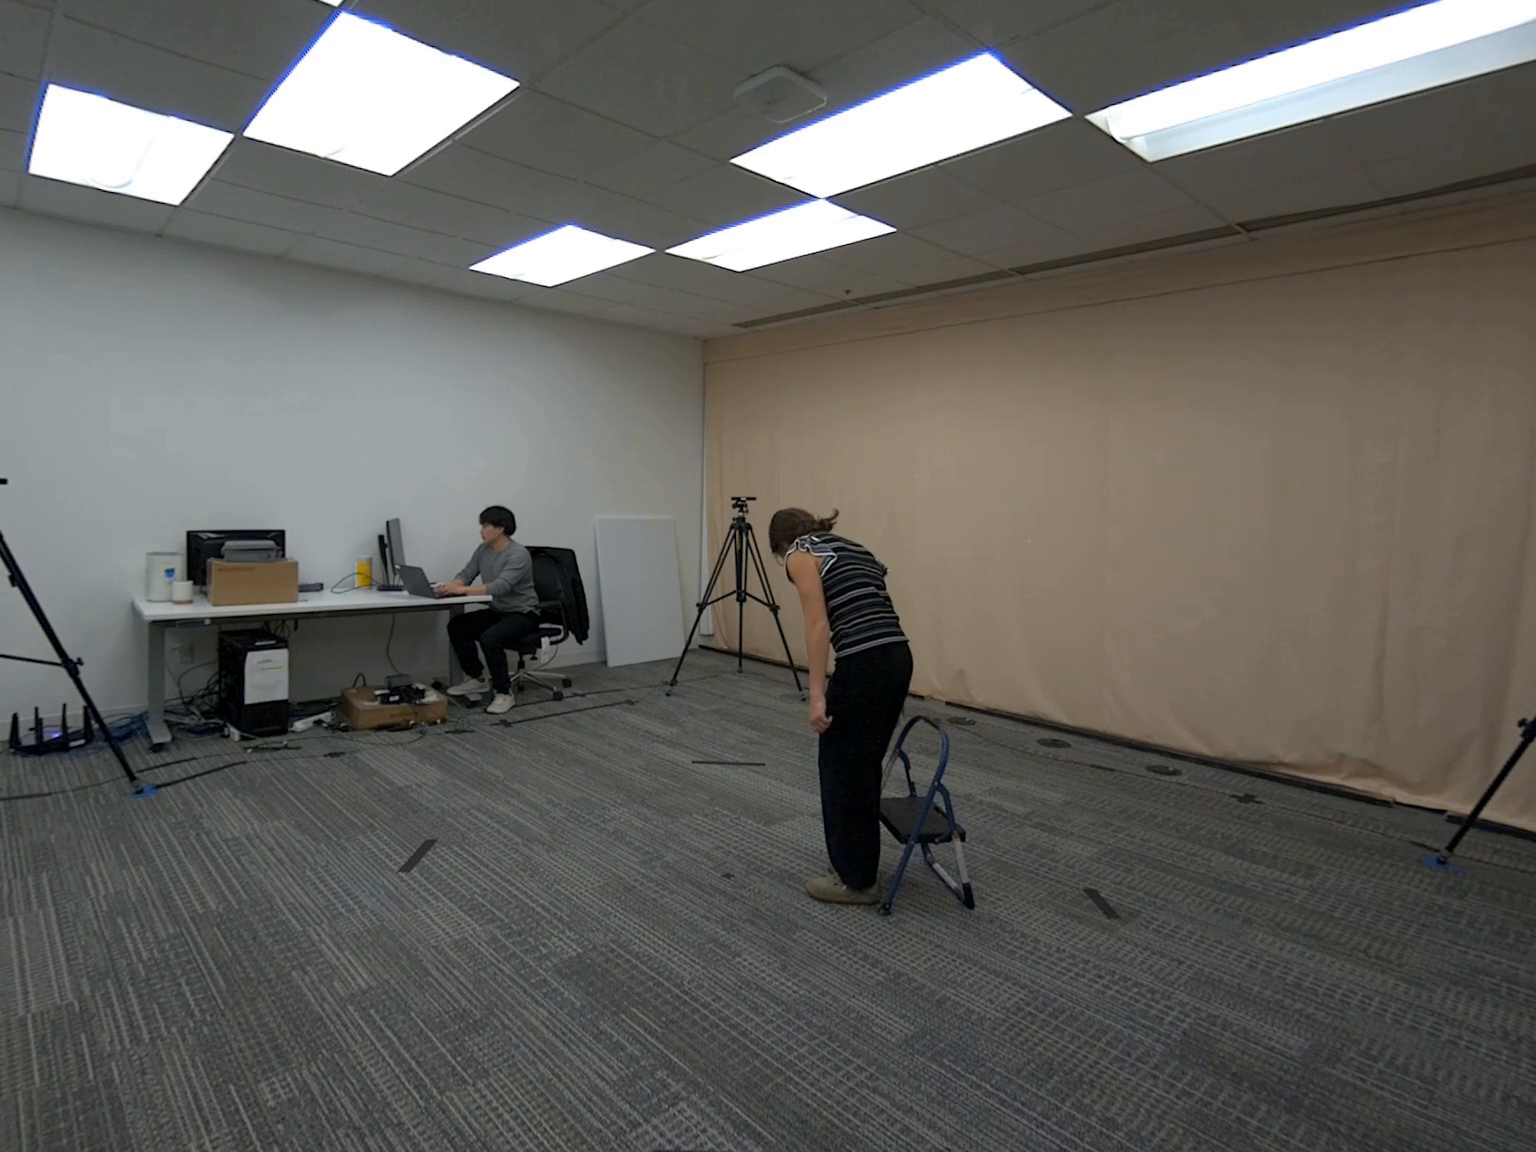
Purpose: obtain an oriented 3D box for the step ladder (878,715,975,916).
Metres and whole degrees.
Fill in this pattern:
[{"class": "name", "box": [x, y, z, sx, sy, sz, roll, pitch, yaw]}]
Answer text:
[{"class": "step ladder", "box": [0.510, 0.827, 3.051, 0.346, 0.604, 0.435, 0, 4, -11]}]
